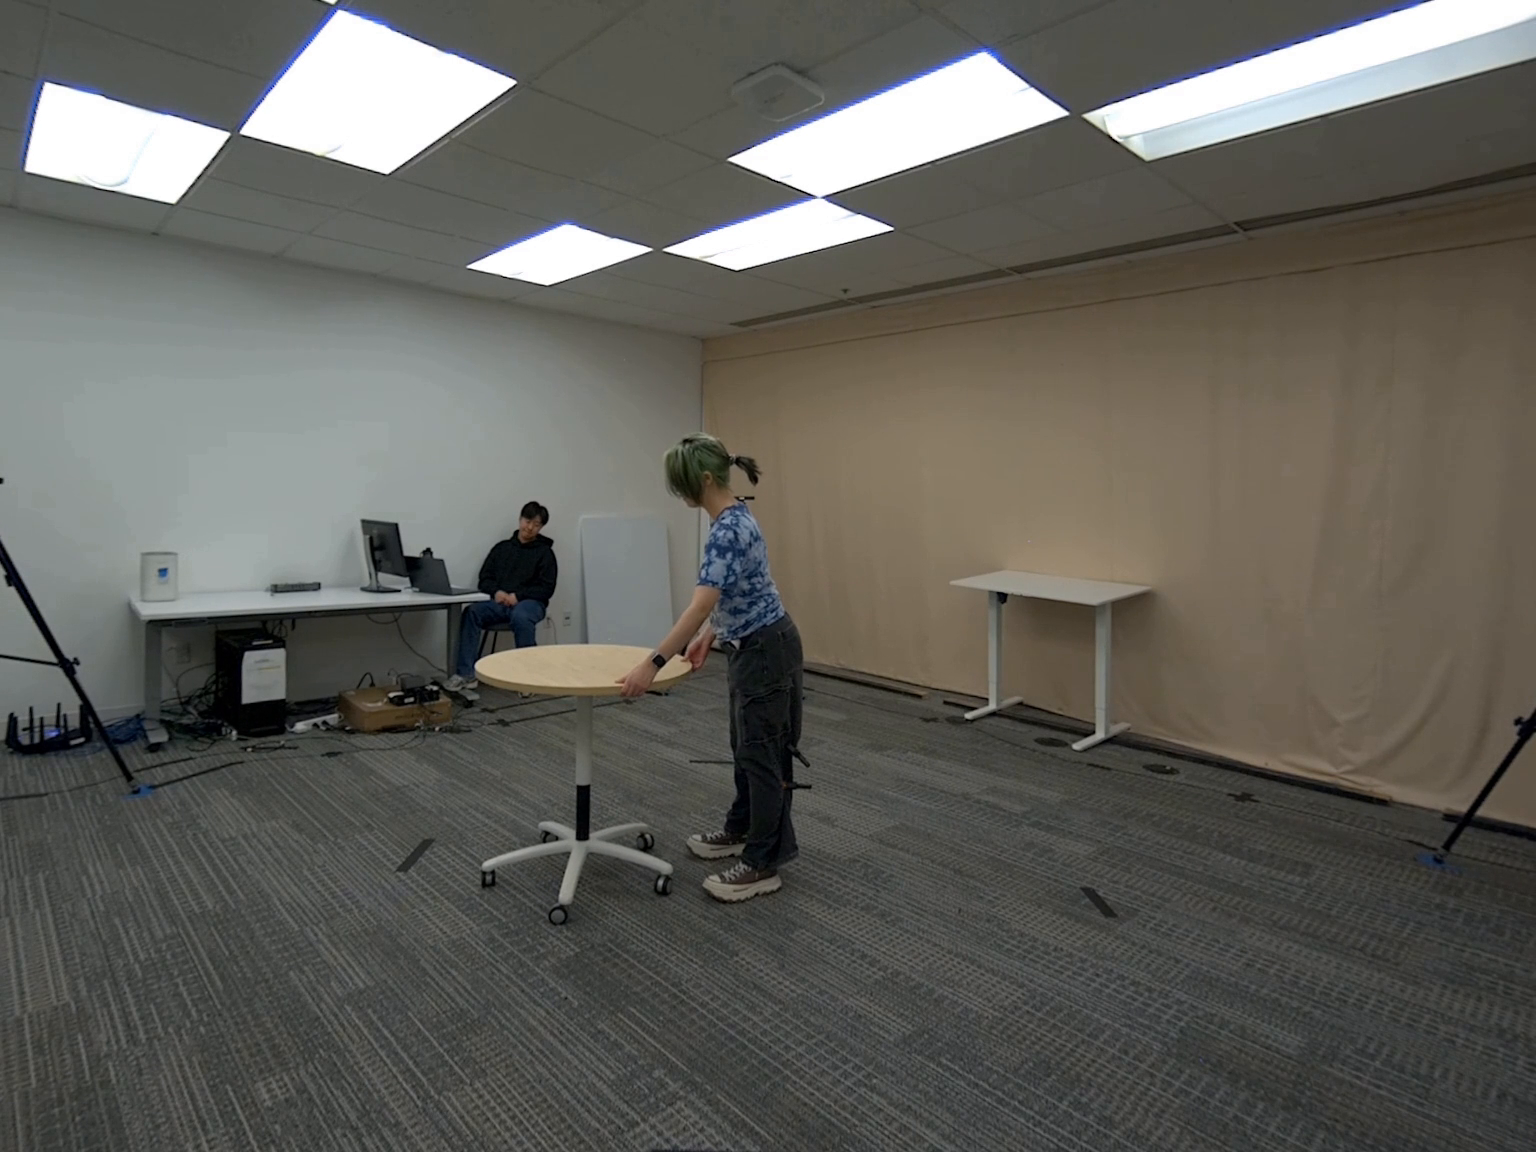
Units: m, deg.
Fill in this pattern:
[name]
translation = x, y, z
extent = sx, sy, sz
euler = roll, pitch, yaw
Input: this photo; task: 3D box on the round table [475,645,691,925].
[round table]
translation = -0.674, 0.707, 3.047
extent = 0.763, 0.792, 0.767
euler = 2, 4, -1
